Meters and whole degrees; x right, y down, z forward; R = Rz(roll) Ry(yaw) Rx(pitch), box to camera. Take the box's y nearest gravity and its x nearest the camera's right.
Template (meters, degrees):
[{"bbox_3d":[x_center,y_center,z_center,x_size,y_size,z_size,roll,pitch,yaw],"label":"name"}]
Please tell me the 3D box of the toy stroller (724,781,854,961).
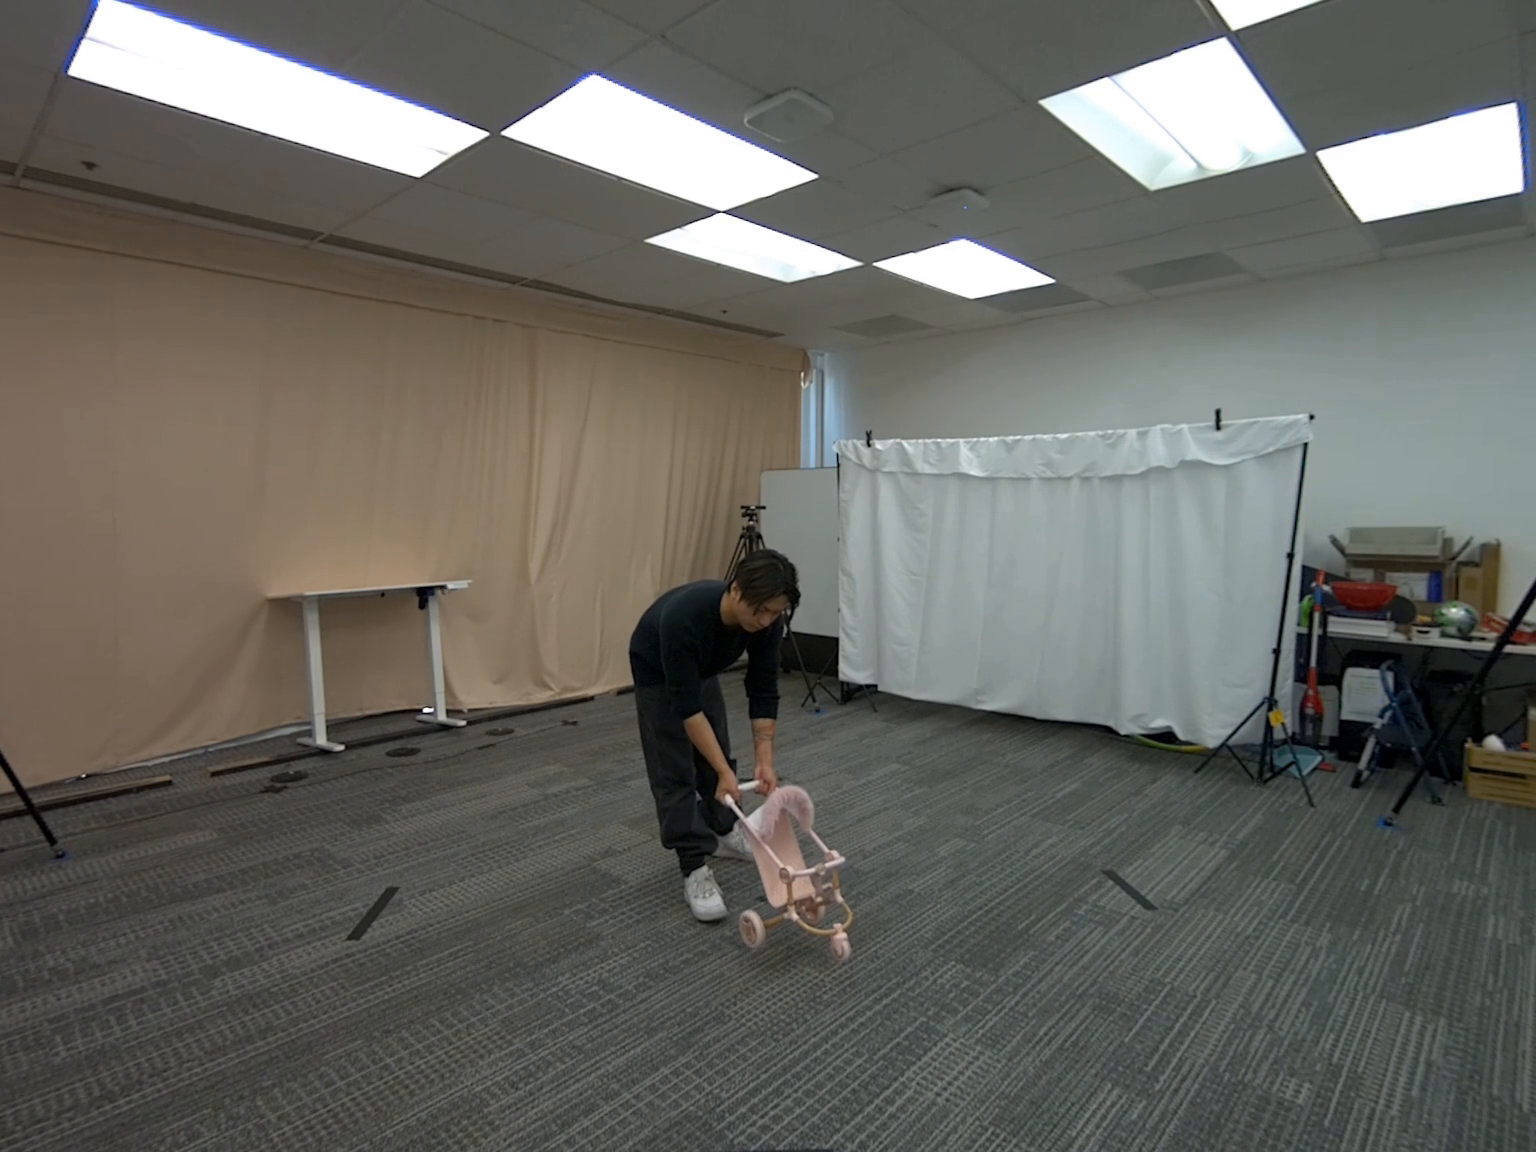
[{"bbox_3d":[0.082,0.885,2.560,0.273,0.541,0.347,-2,-17,-36],"label":"toy stroller"}]
